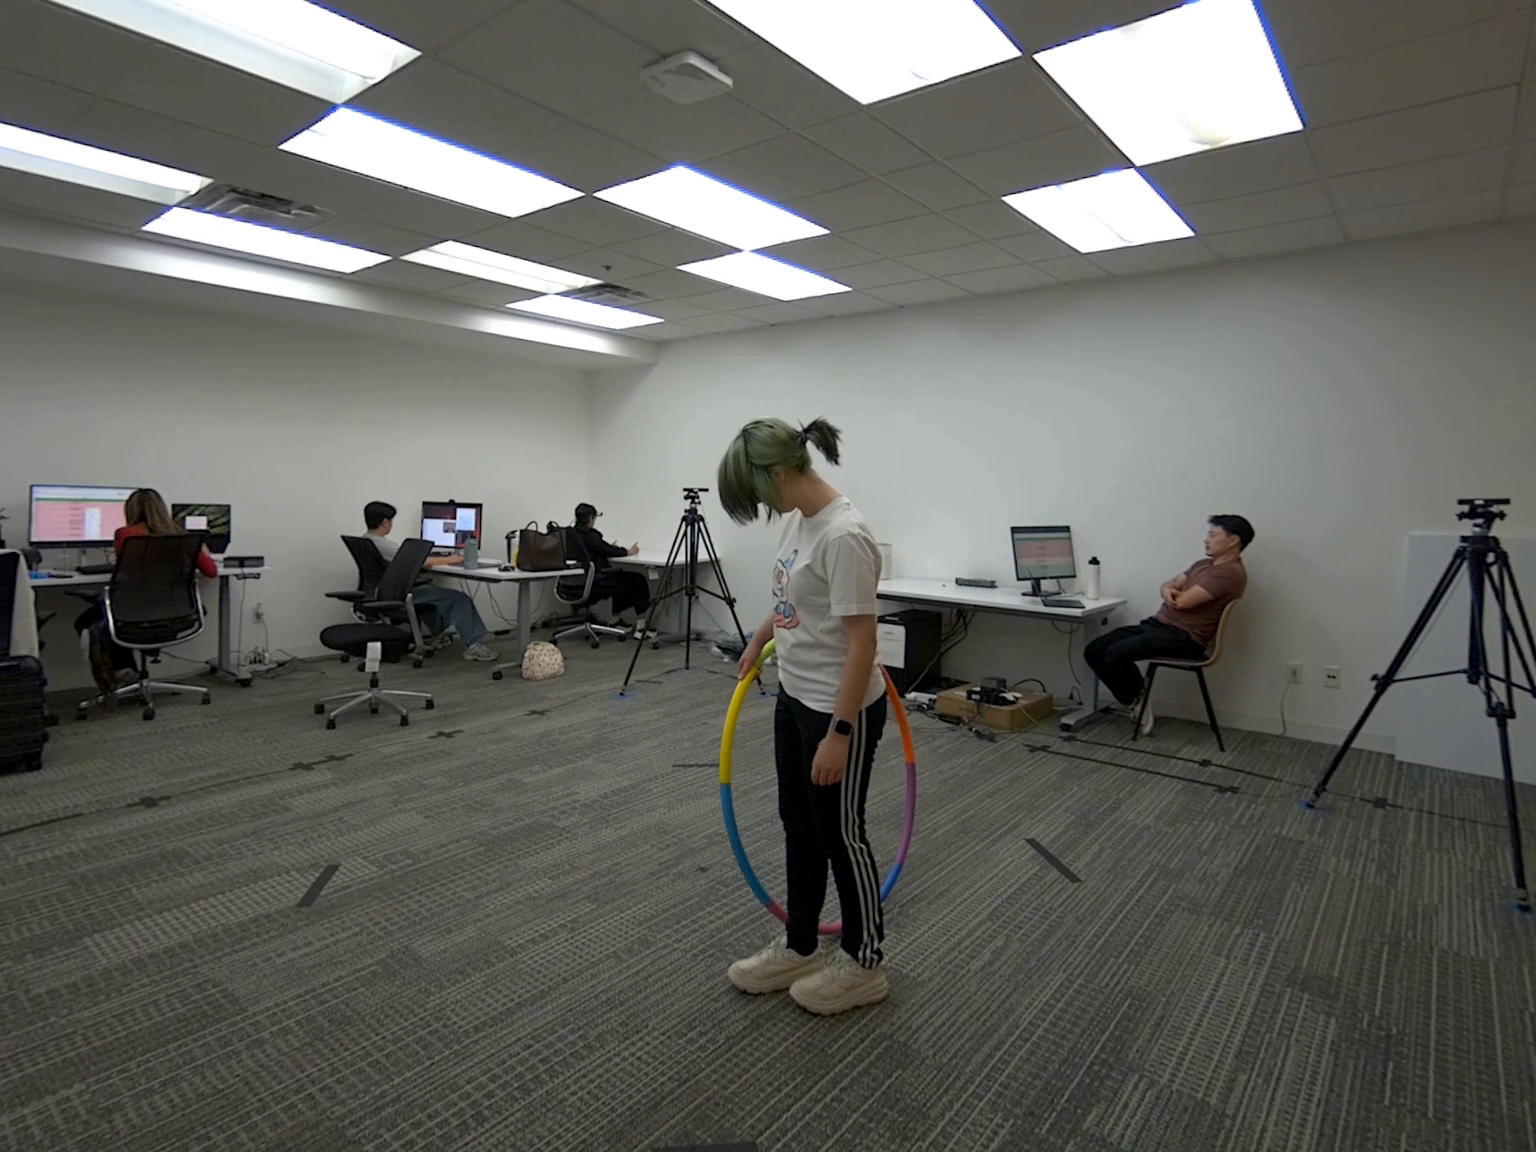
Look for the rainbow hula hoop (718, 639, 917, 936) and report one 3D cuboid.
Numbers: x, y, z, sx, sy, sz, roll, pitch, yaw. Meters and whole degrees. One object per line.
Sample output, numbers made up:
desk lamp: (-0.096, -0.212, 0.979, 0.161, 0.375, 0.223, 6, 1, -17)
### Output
rainbow hula hoop: (0.195, 0.644, 2.790, 0.036, 0.988, 0.949, -18, -10, 43)
